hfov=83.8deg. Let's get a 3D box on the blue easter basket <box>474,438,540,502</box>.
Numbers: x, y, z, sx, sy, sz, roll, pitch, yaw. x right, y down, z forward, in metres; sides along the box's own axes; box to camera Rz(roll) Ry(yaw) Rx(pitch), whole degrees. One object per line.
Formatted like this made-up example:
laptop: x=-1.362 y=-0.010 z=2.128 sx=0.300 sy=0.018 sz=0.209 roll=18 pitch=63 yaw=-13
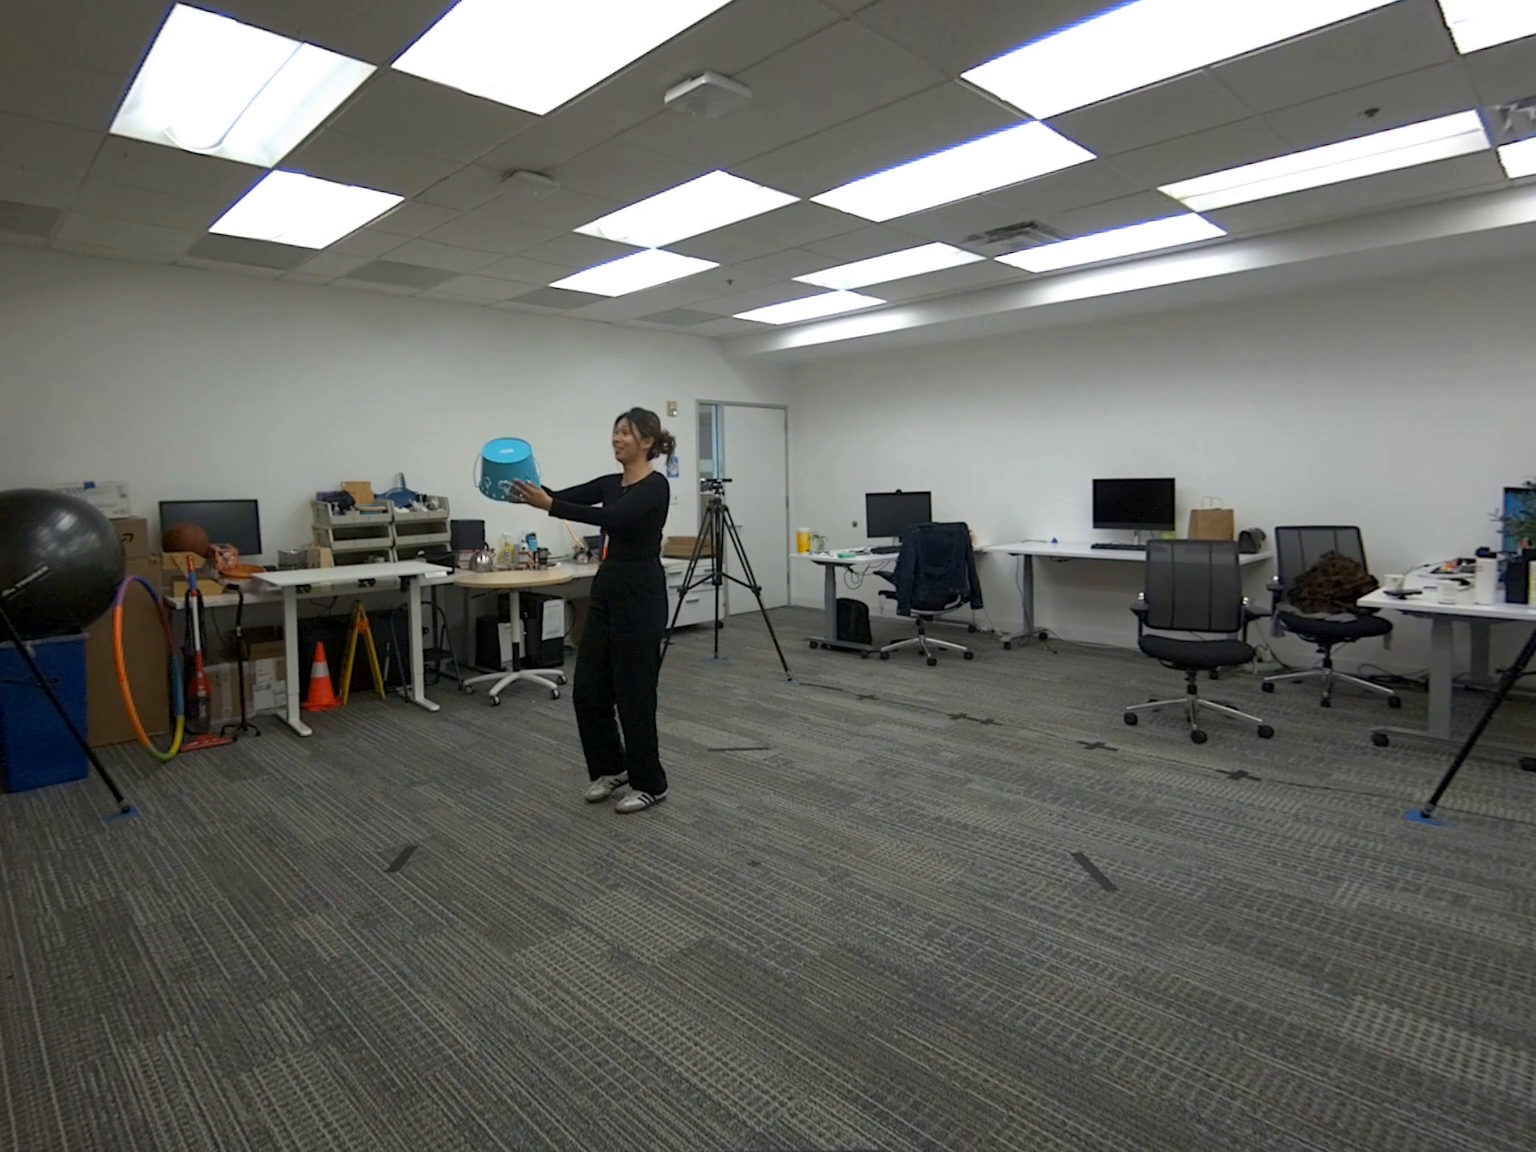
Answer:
blue easter basket: x=-0.974 y=-0.406 z=3.191 sx=0.243 sy=0.152 sz=0.250 roll=2 pitch=37 yaw=-3
